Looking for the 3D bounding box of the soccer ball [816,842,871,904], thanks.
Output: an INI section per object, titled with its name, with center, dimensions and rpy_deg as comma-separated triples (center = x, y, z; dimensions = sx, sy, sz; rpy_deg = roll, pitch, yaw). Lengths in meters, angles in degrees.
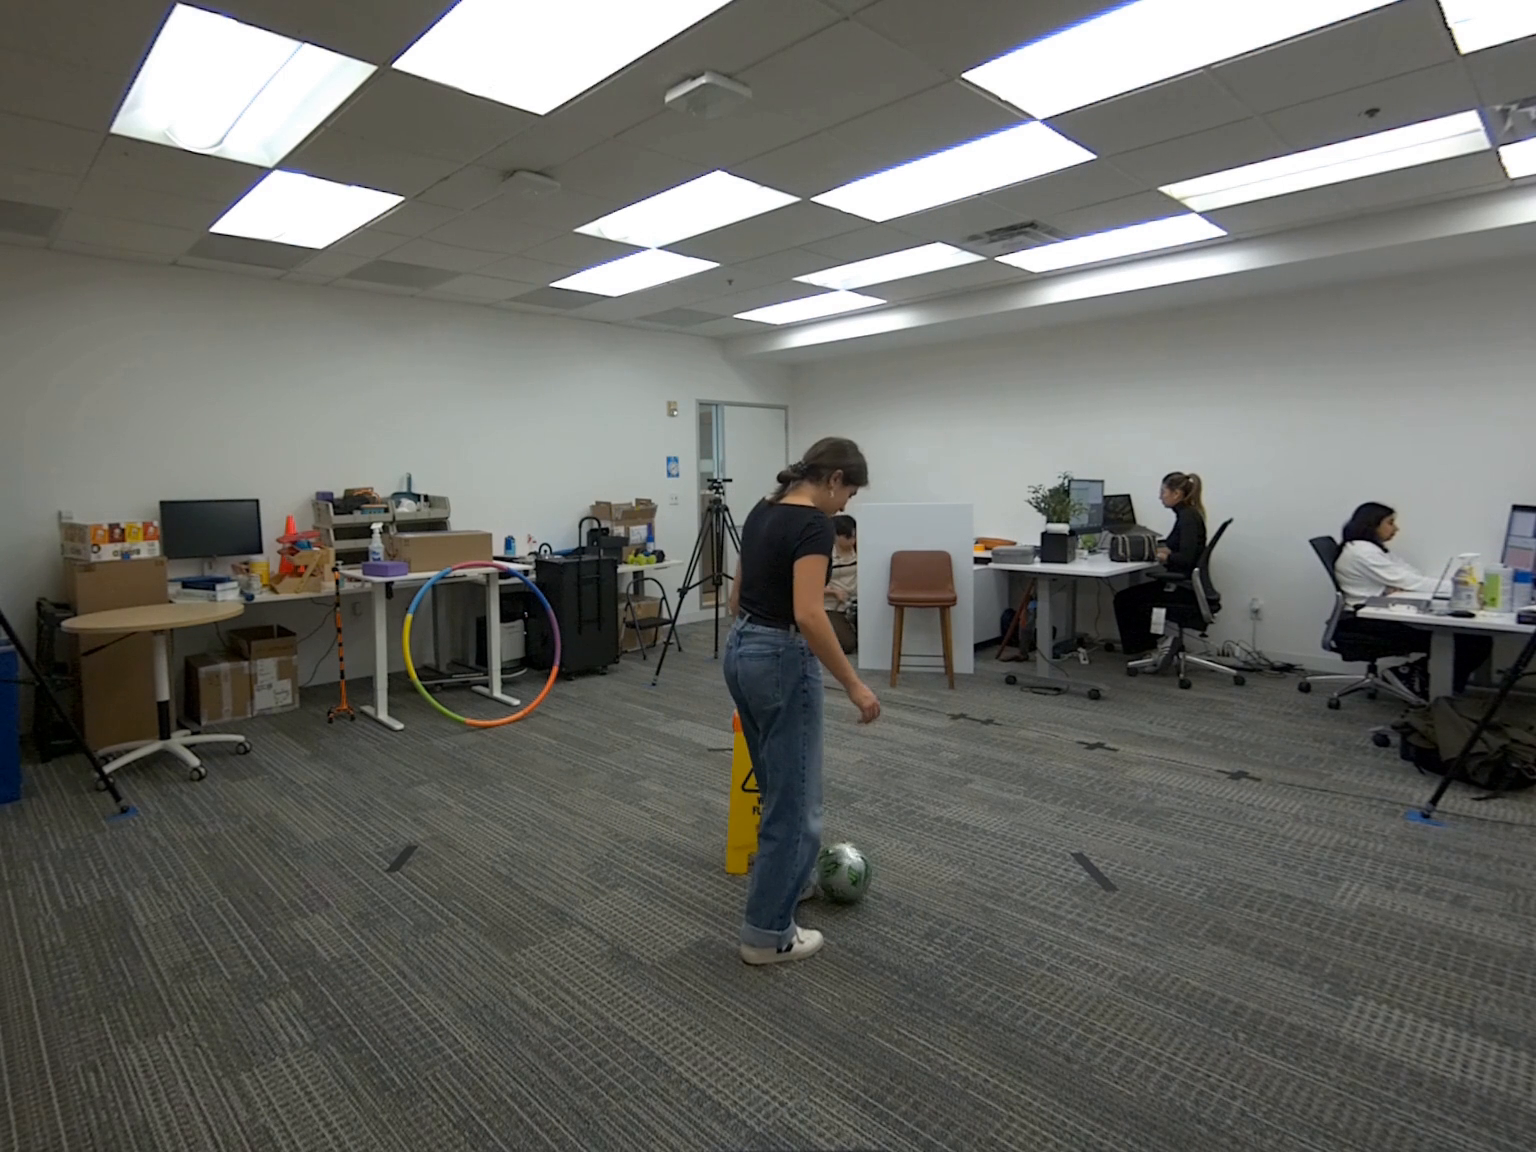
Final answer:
[soccer ball]
center = 0.260, 0.978, 2.827
dimensions = 0.187, 0.187, 0.188
rpy_deg = -1, 5, -2
